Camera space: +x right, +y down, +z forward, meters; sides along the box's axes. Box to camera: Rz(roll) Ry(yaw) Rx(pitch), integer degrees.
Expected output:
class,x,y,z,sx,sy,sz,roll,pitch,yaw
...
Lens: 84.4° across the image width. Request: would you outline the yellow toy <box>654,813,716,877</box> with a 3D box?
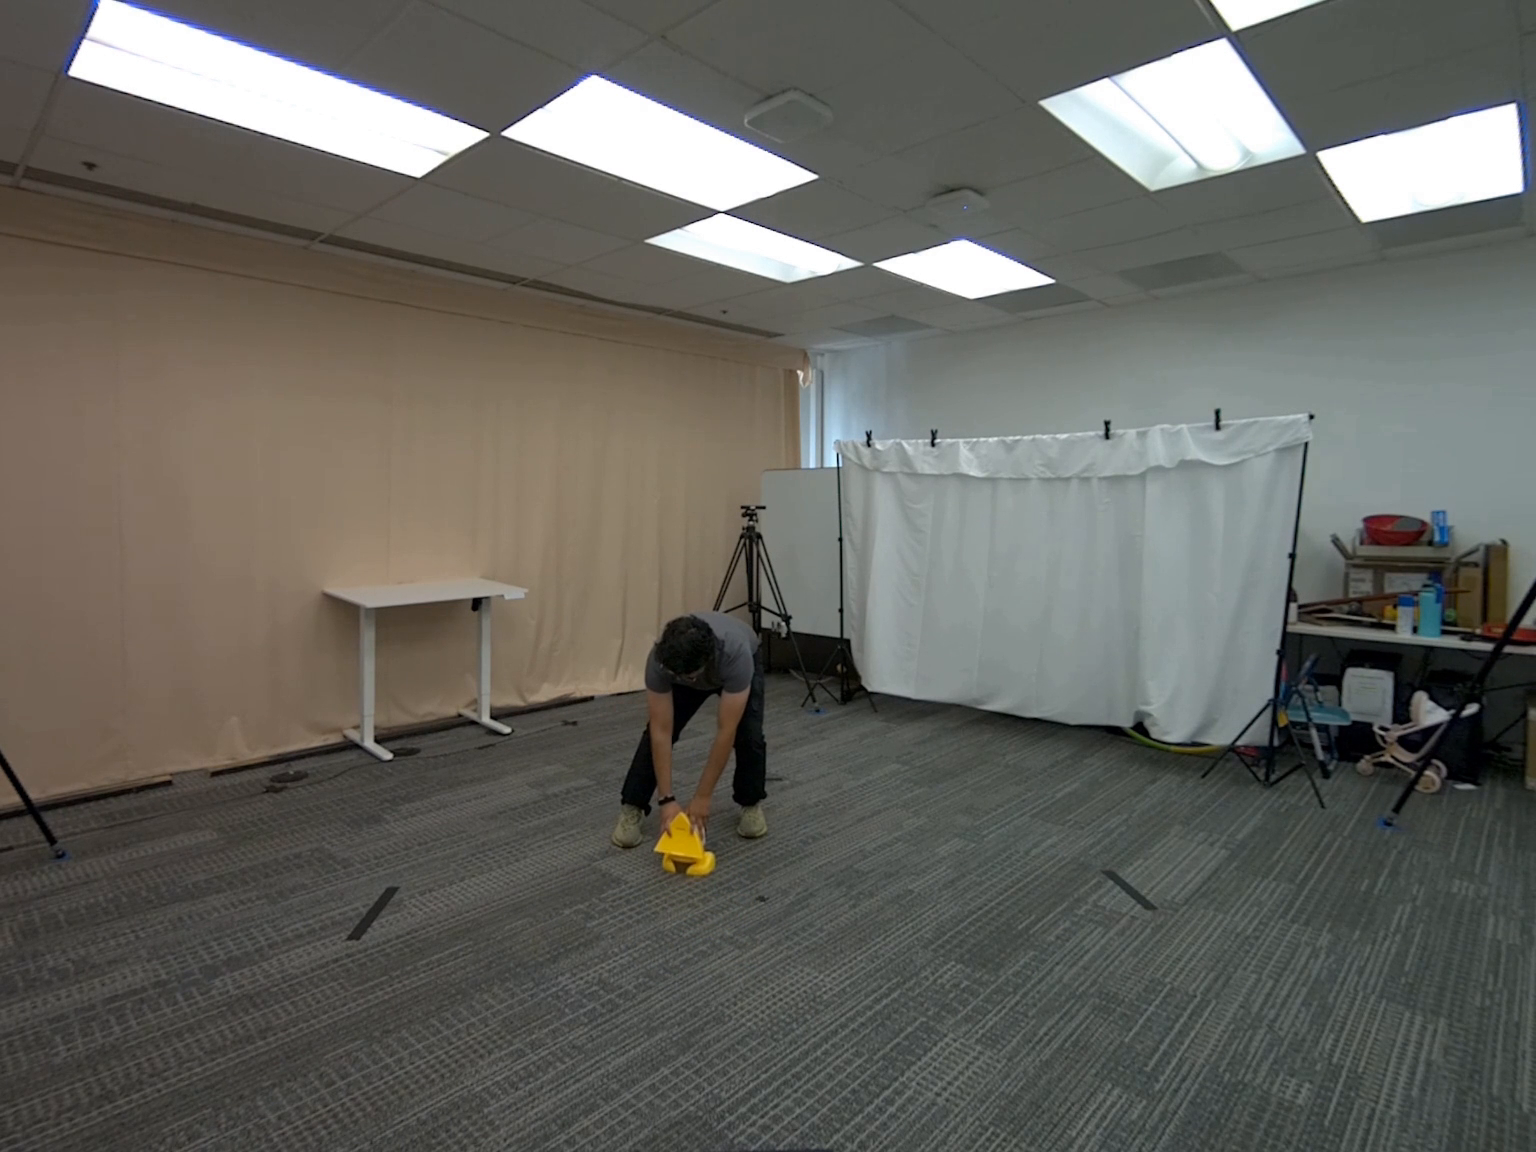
class,x,y,z,sx,sy,sz,roll,pitch,yaw
yellow toy,-0.308,1.013,3.256,0.209,0.230,0.189,1,5,21
